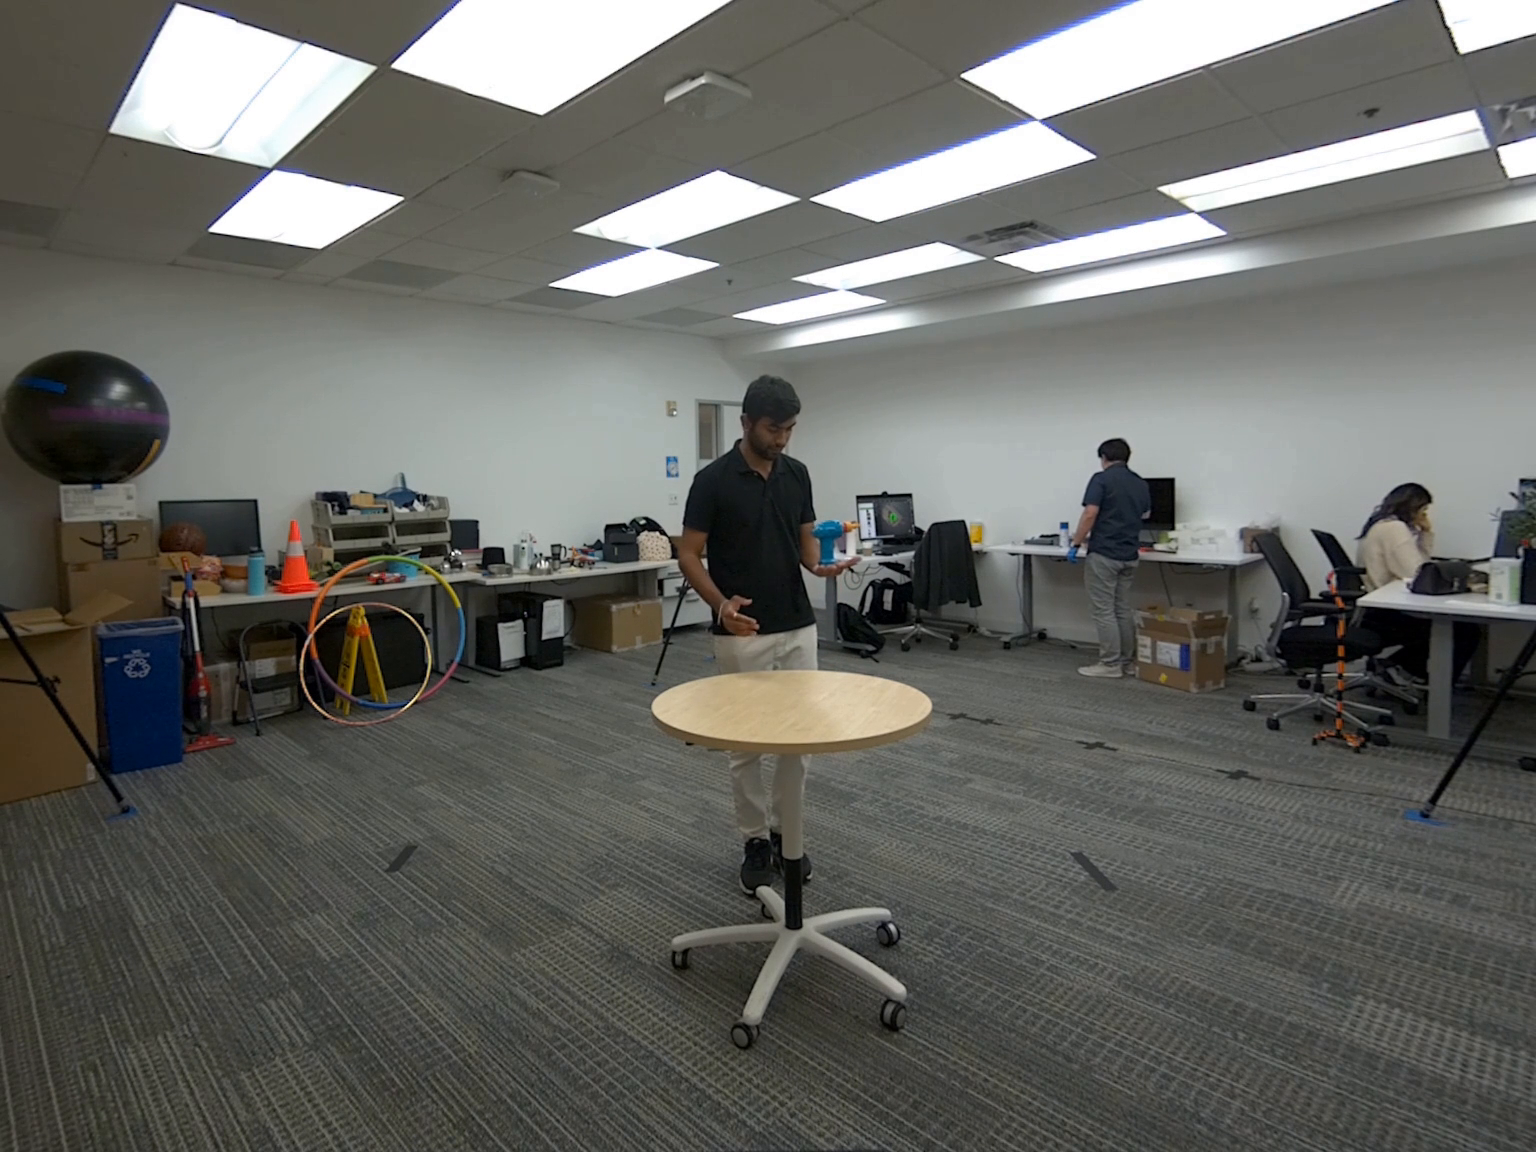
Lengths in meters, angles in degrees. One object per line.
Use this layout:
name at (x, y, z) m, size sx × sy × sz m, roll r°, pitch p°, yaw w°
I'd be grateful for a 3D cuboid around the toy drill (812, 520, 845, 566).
toy drill at (0.230, -0.110, 2.720) m, size 0.167 × 0.146 × 0.062 m, roll -9°, pitch 3°, yaw -17°
